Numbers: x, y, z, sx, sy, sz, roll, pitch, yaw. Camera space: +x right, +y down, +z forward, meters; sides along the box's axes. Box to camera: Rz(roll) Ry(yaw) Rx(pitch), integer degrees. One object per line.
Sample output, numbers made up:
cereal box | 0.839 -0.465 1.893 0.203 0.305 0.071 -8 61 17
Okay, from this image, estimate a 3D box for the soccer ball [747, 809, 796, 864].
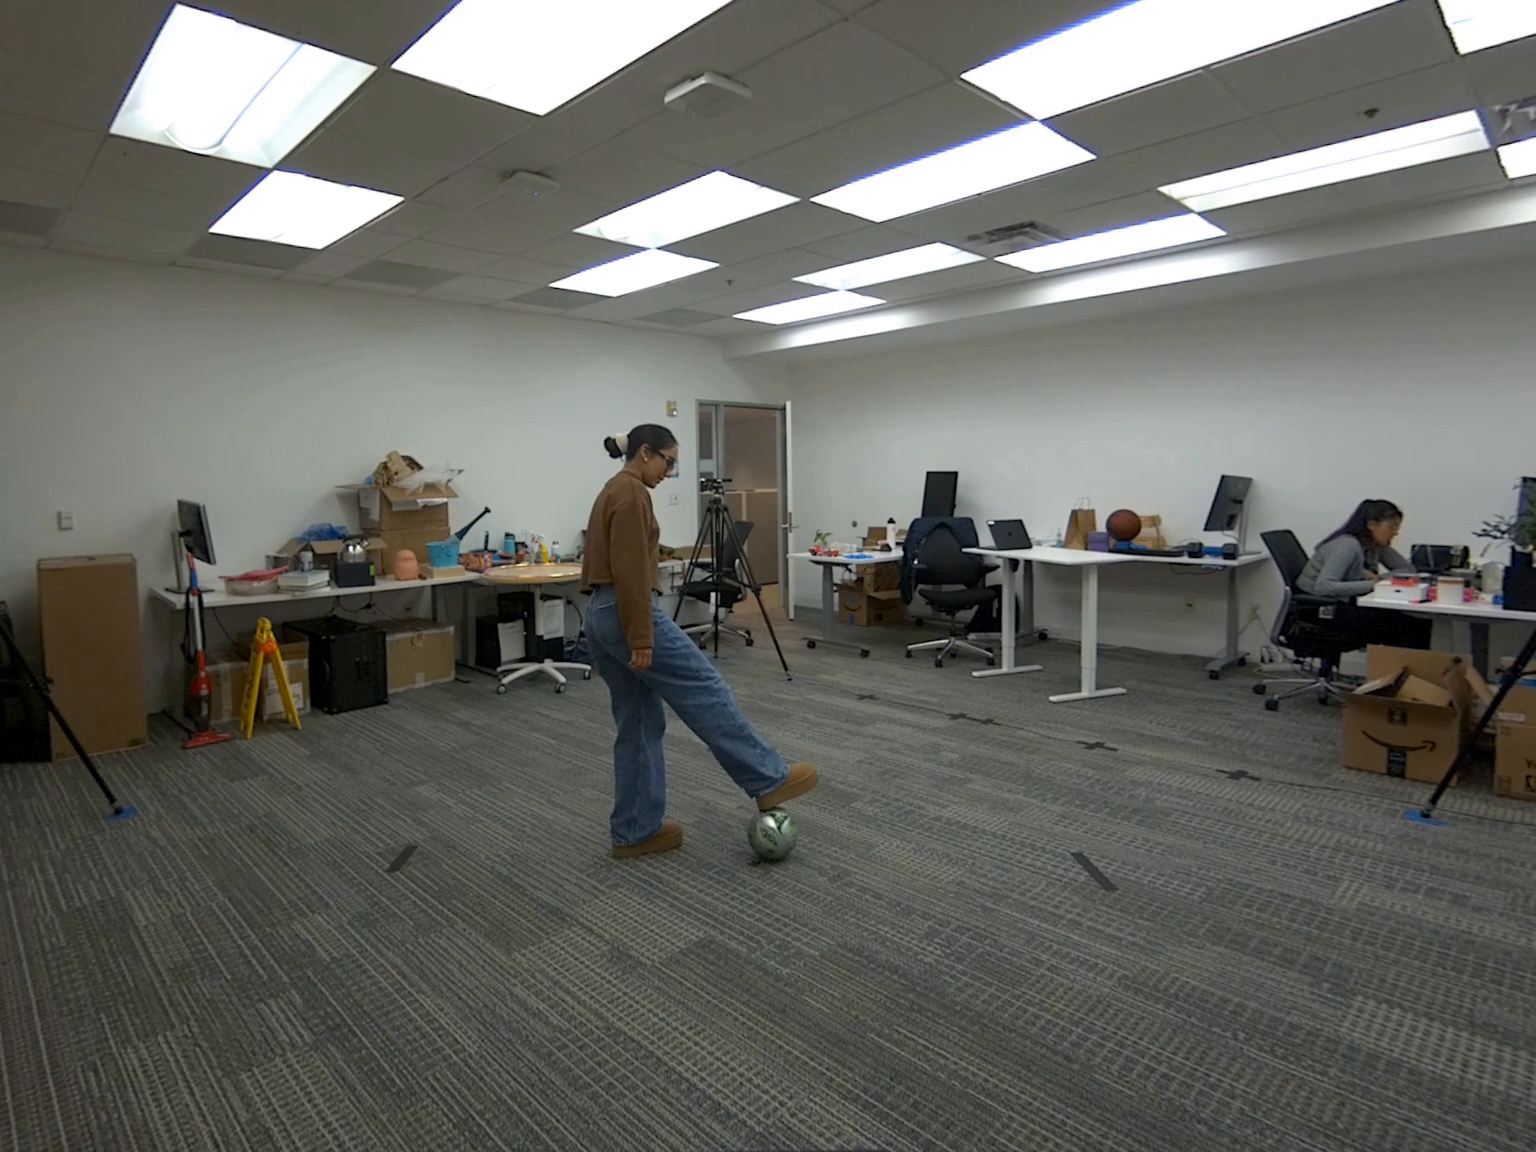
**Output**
soccer ball | 0.008 0.946 3.136 0.187 0.187 0.188 -1 5 -2
